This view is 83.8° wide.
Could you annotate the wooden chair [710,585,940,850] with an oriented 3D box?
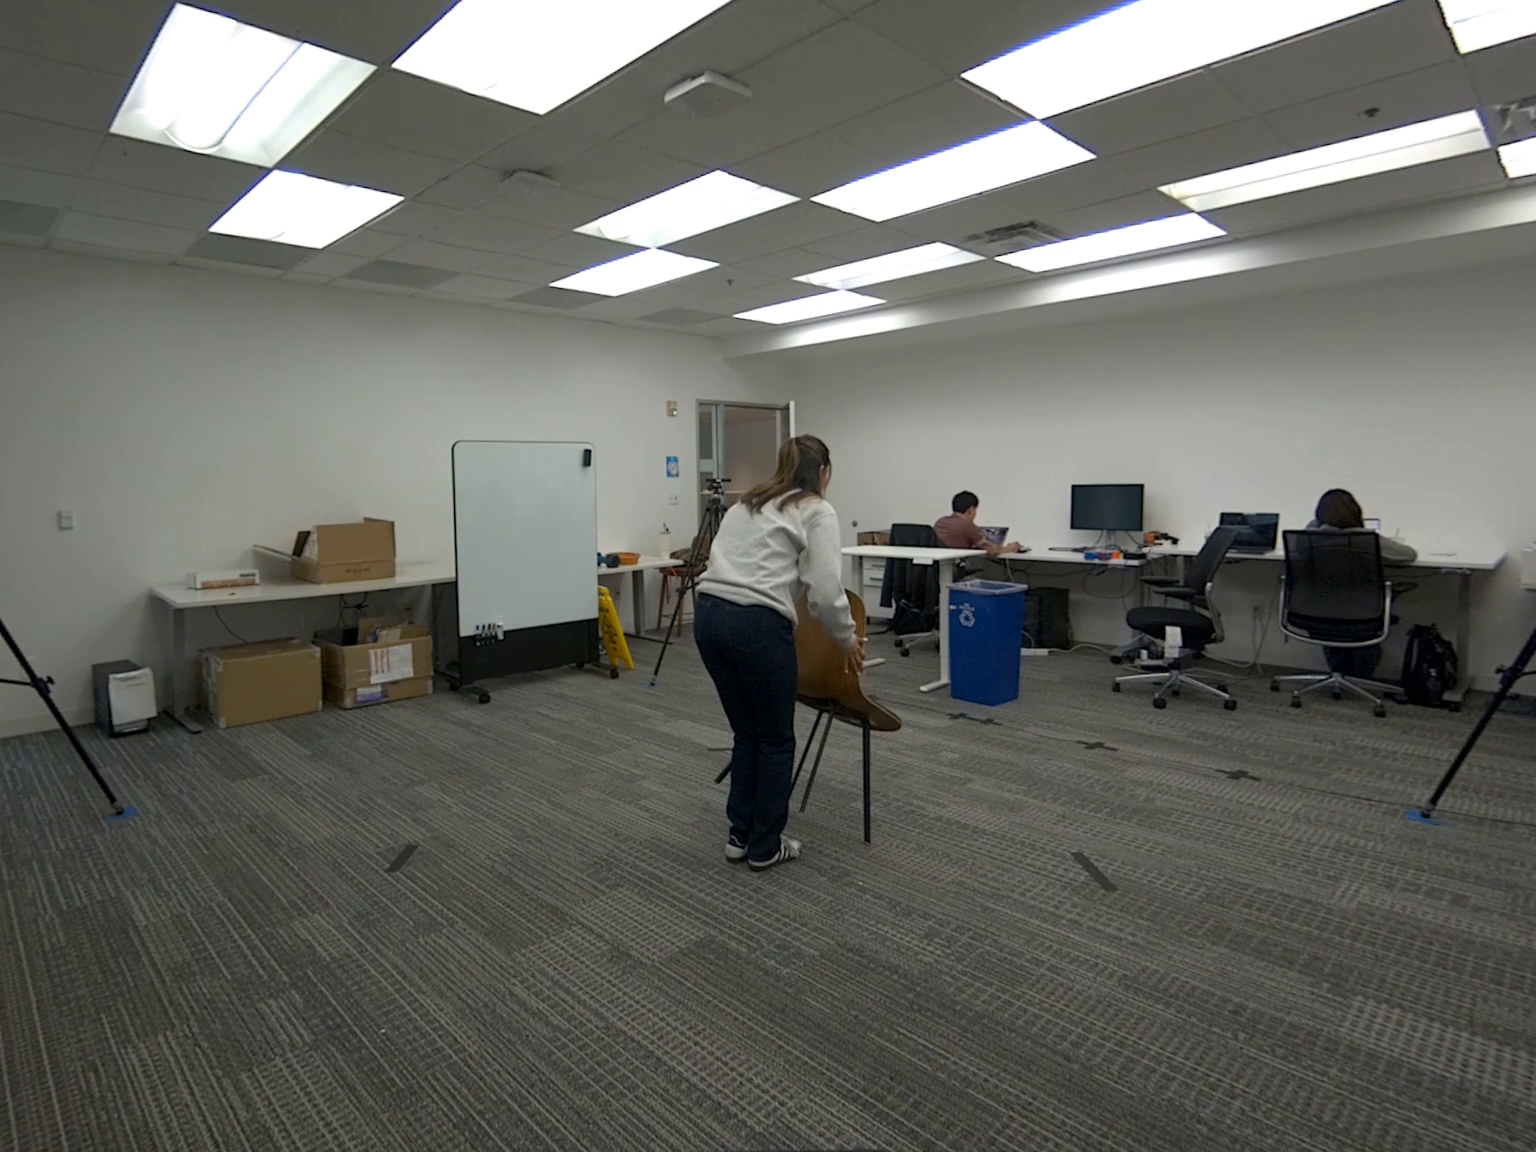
[{"bbox_3d":[0.237,0.528,3.403,0.492,0.885,0.503,3,-20,45],"label":"wooden chair"}]
